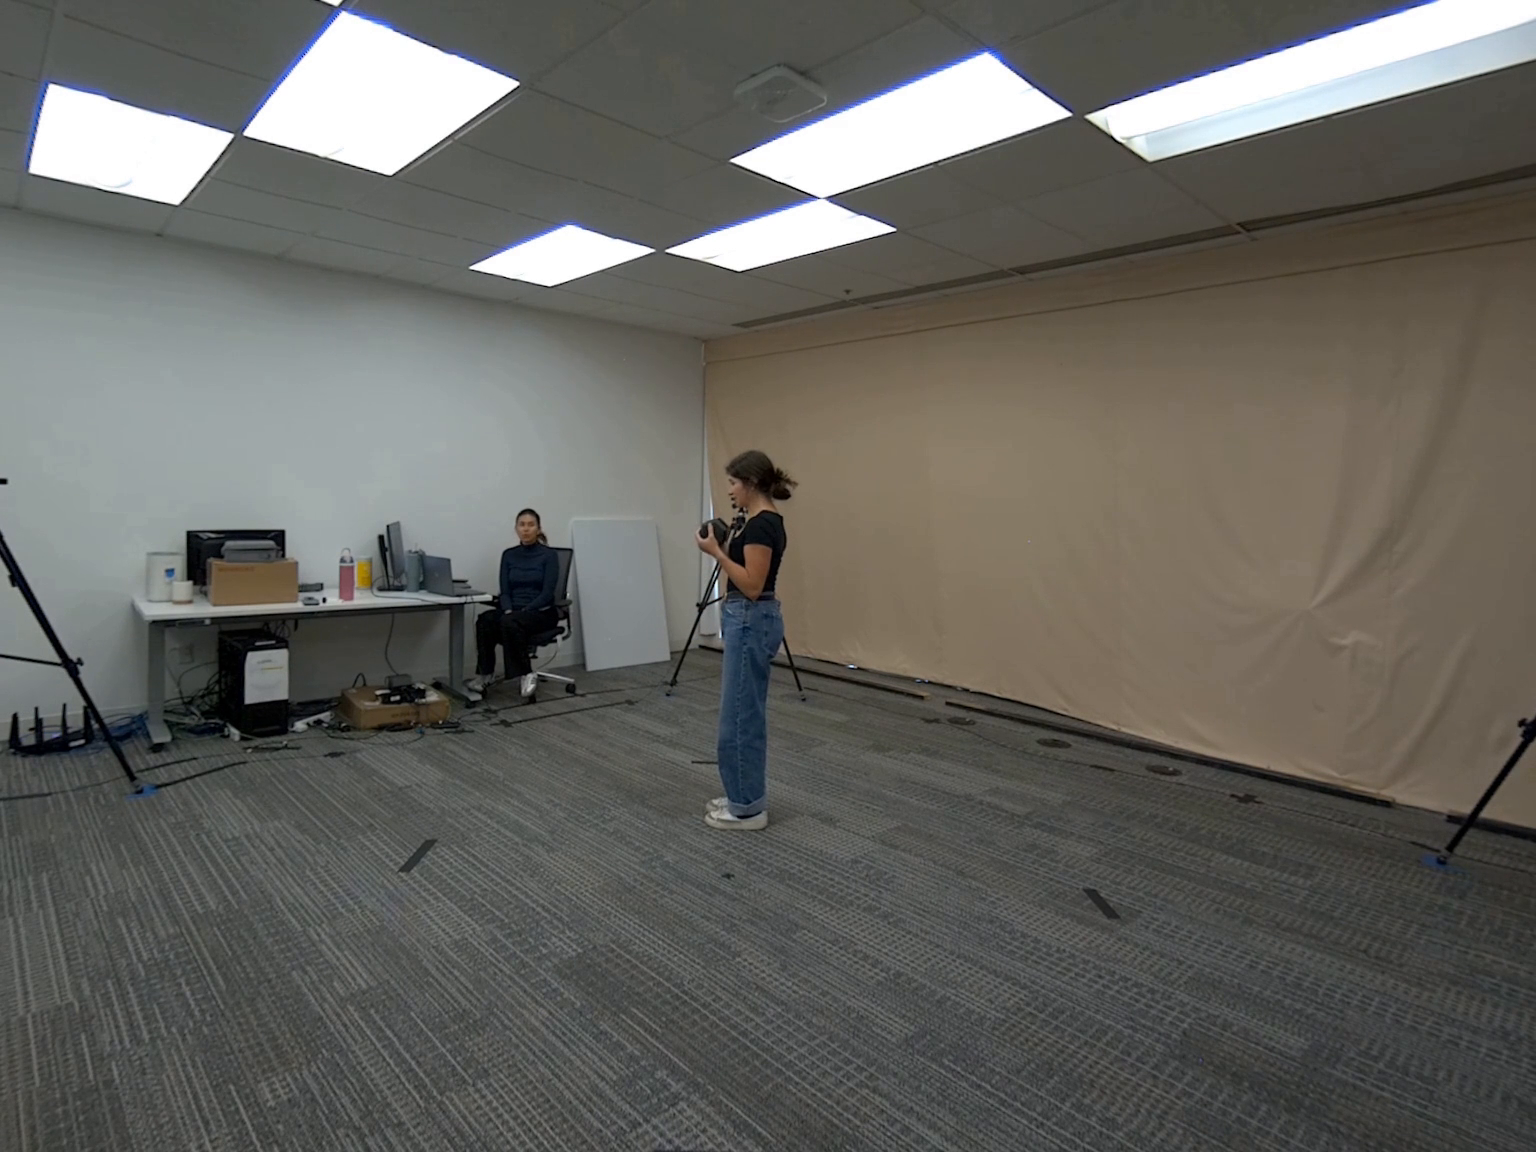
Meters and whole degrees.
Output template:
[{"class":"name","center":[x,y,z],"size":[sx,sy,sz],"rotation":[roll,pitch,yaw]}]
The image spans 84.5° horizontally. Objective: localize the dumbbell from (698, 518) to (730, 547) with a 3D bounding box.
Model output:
[{"class":"dumbbell","center":[-0.240,-0.179,3.639],"size":[0.109,0.123,0.294],"rotation":[14,4,-2]}]
